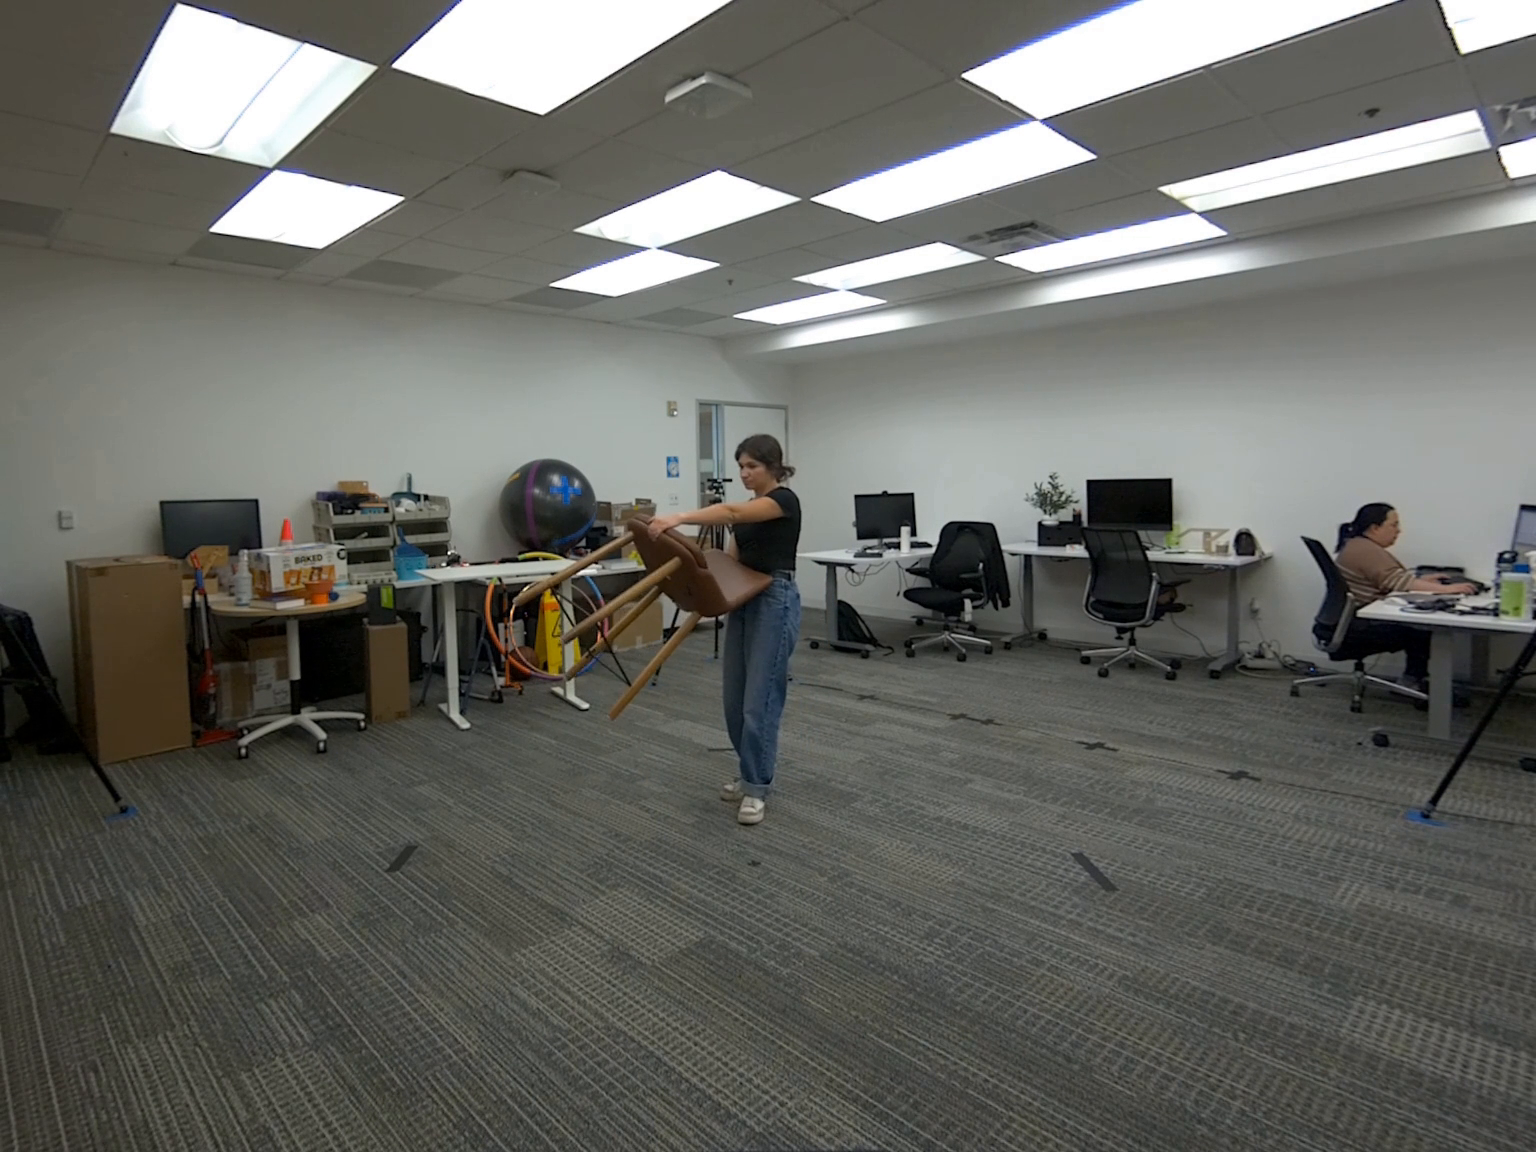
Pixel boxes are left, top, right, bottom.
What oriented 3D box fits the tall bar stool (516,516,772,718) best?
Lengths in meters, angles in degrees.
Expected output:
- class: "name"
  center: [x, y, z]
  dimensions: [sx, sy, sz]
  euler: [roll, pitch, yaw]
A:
- class: "tall bar stool"
  center: [-0.458, 0.069, 3.343]
  dimensions: [0.886, 0.452, 0.474]
  euler: [-40, 39, -24]
